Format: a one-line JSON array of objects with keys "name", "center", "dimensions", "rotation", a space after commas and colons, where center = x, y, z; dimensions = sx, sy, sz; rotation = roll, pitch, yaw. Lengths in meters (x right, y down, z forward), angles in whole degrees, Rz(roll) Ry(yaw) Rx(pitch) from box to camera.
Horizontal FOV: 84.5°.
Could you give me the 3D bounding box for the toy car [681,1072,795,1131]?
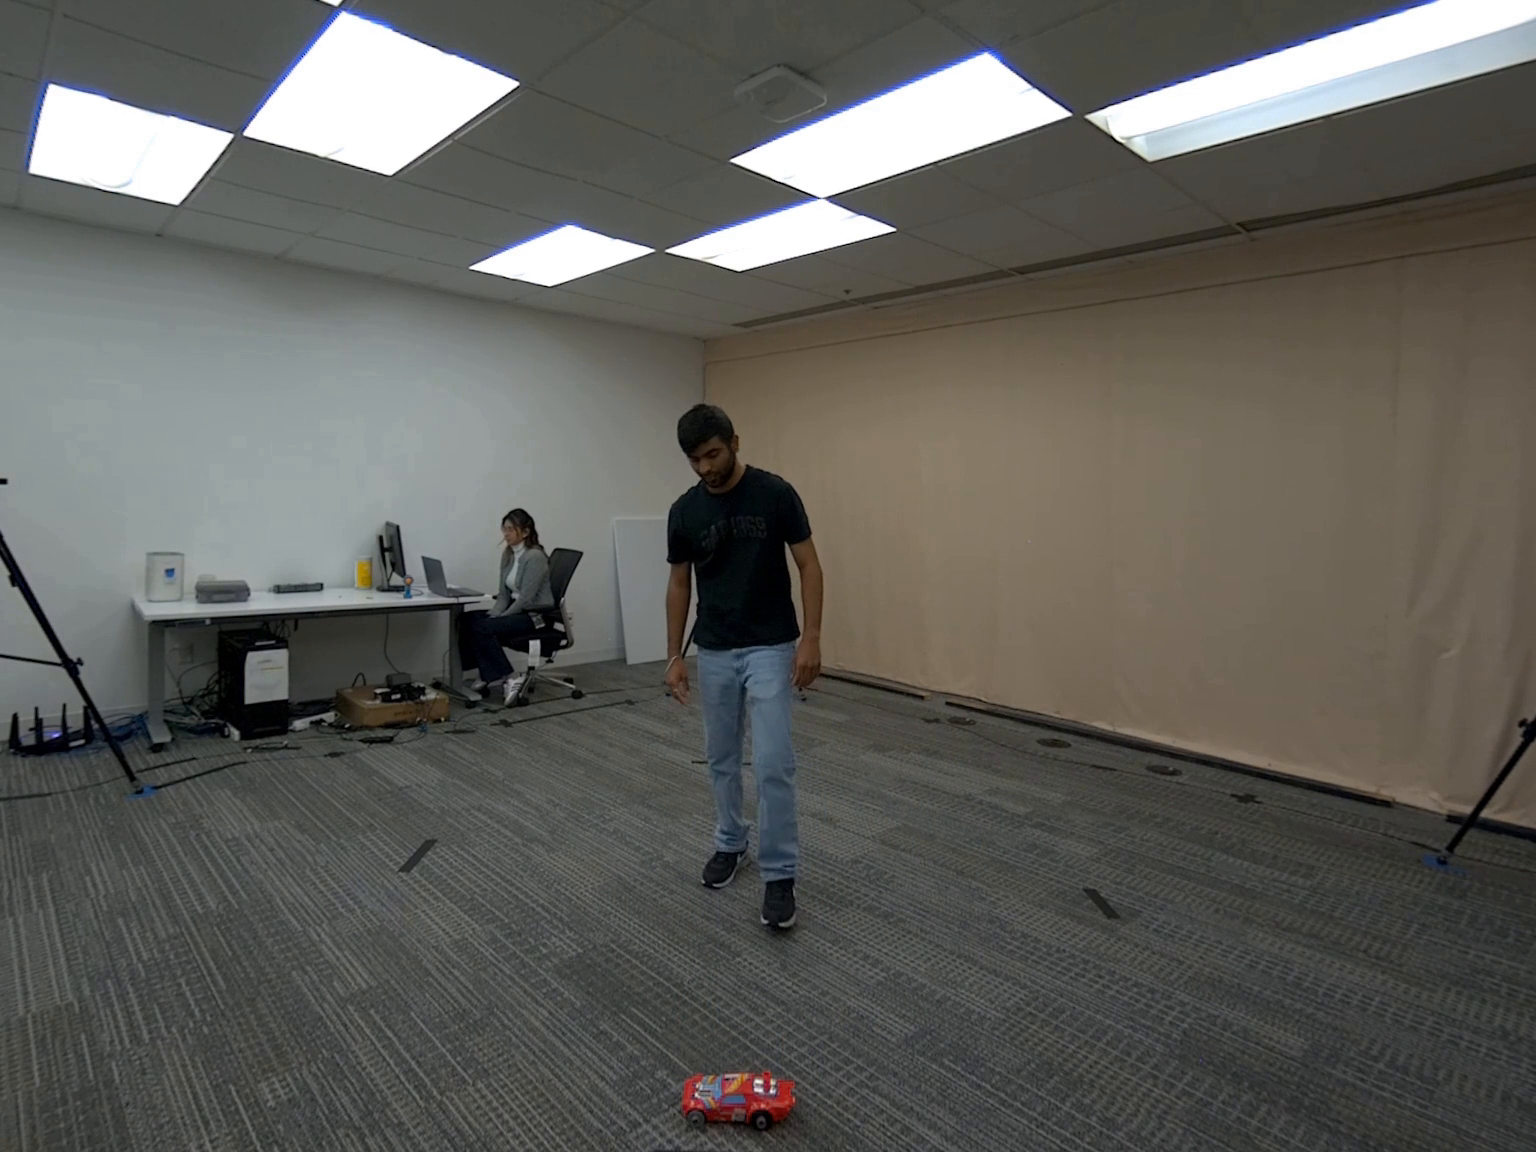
[{"name": "toy car", "center": [-0.078, 1.192, 1.904], "dimensions": [0.255, 0.083, 0.130], "rotation": [-9, 4, 3]}]
